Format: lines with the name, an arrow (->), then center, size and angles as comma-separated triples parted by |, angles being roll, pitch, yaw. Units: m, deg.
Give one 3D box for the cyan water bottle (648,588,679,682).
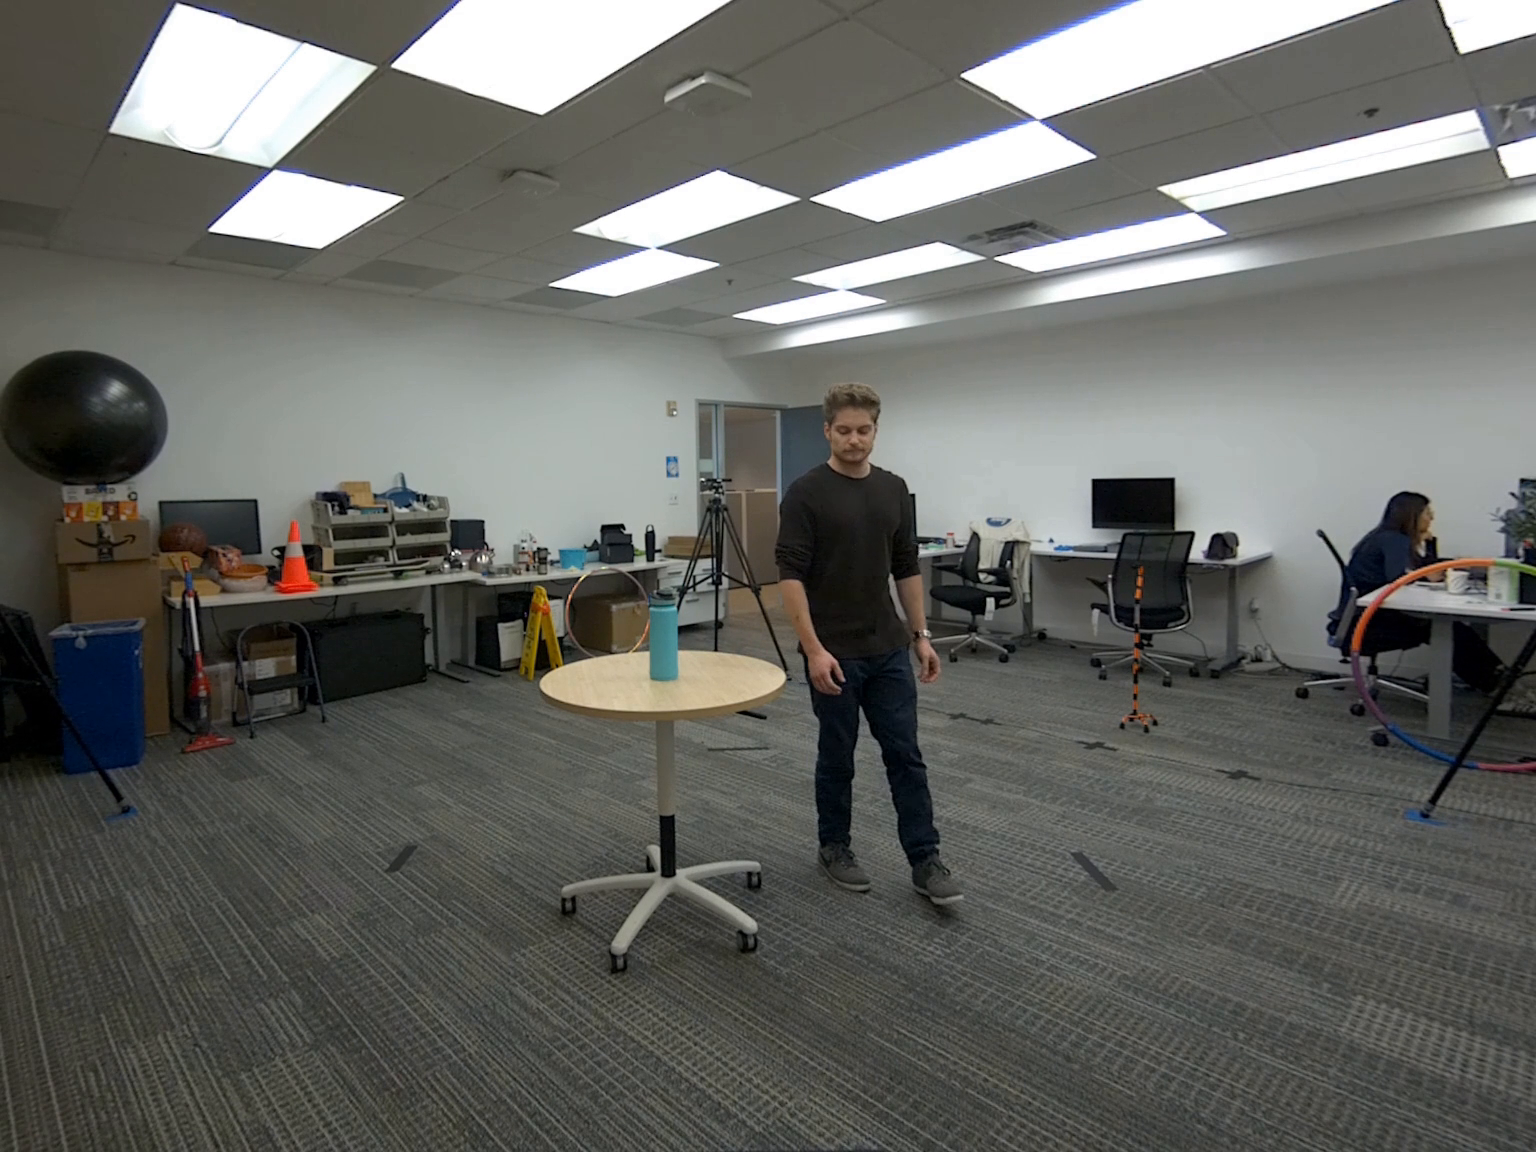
cyan water bottle -> -0.327, 0.181, 2.657 | 0.092, 0.282, 0.093 | 0, 4, -2
